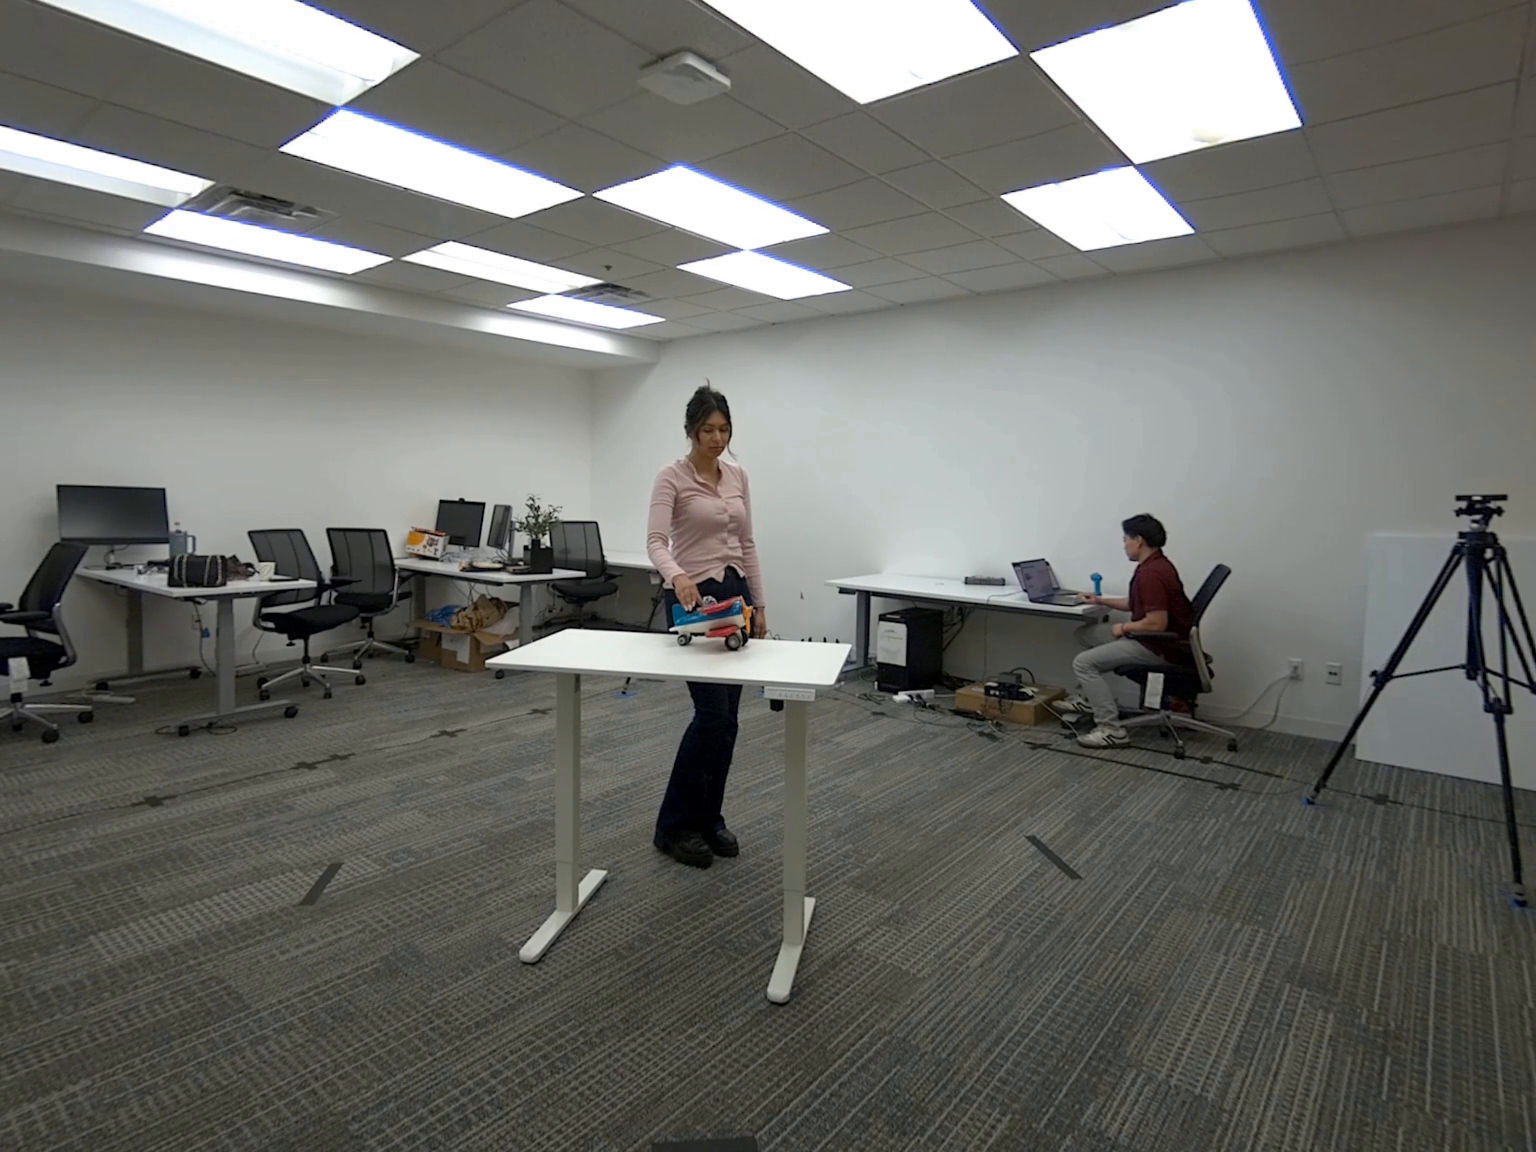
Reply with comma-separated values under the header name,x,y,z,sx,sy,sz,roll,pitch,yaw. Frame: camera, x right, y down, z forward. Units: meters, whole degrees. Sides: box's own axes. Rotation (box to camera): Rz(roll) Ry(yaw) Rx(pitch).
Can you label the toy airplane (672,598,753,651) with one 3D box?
name,x,y,z,sx,sy,sz,roll,pitch,yaw
toy airplane,-0.190,0.148,2.703,0.256,0.156,0.255,1,5,-13
